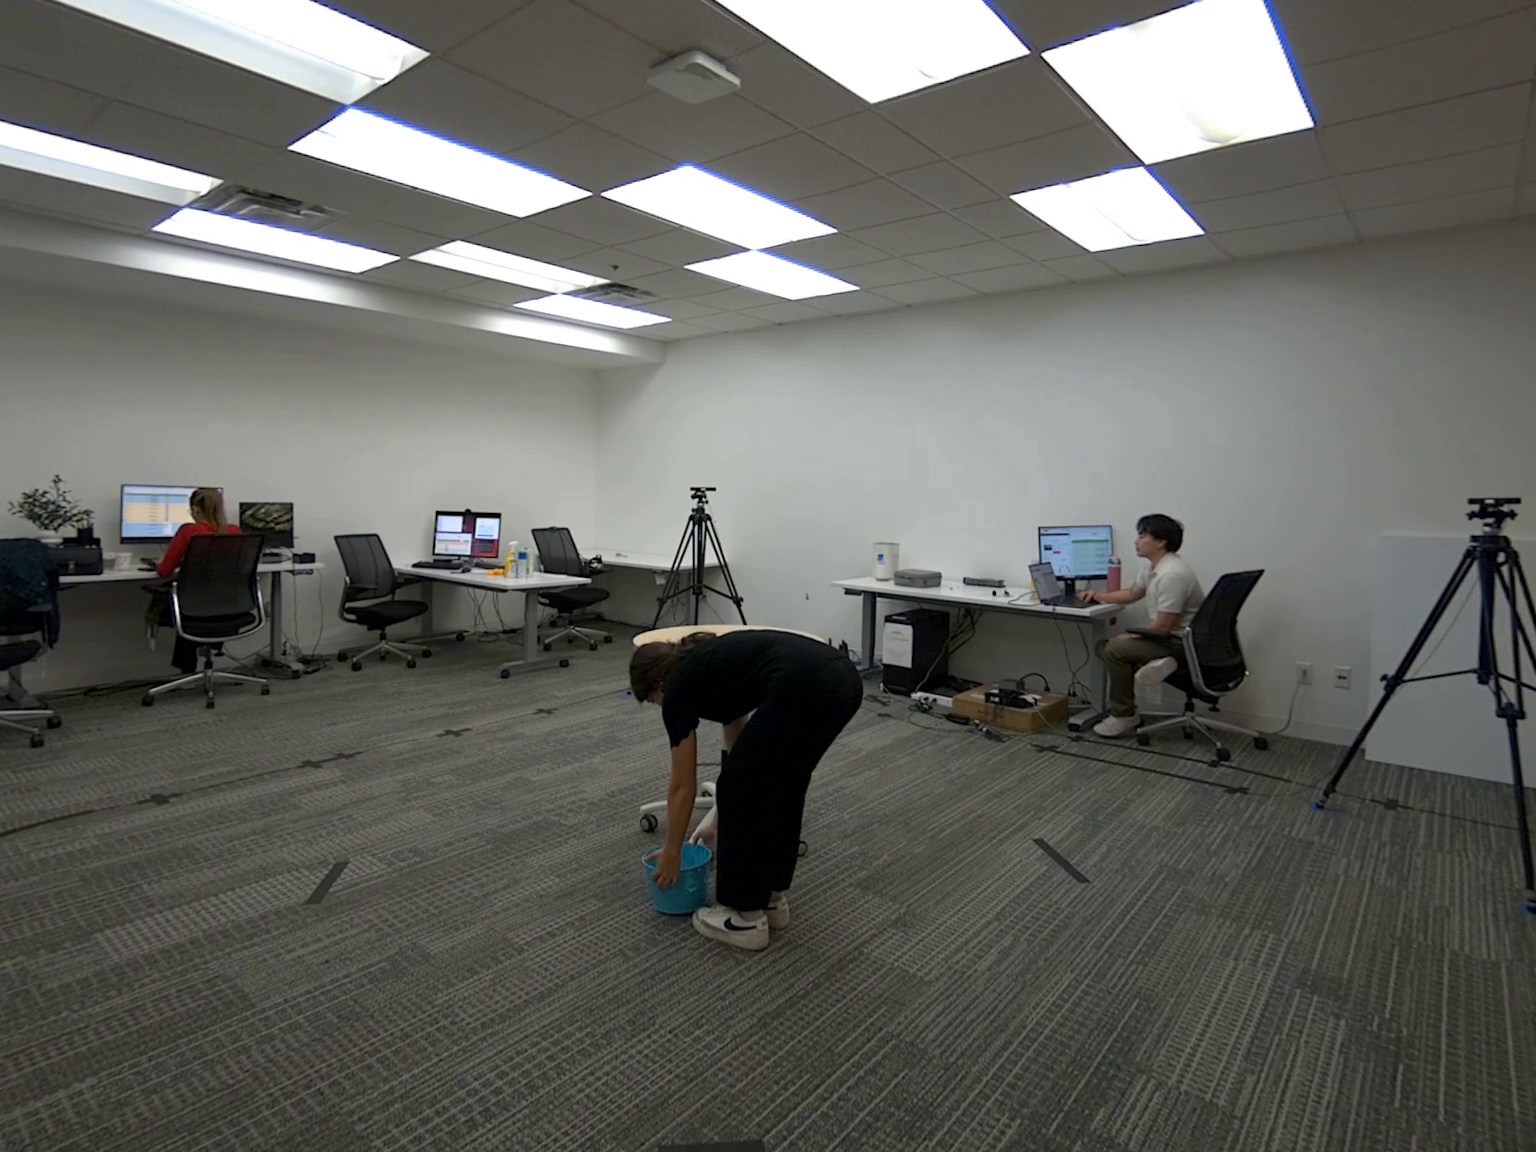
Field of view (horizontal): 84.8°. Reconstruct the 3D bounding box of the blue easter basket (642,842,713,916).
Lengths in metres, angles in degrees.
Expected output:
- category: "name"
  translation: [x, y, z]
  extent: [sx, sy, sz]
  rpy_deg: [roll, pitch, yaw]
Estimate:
- category: "blue easter basket"
  translation: [-0.303, 1.004, 2.837]
  extent: [0.243, 0.155, 0.245]
  rpy_deg: [-3, 4, -2]
